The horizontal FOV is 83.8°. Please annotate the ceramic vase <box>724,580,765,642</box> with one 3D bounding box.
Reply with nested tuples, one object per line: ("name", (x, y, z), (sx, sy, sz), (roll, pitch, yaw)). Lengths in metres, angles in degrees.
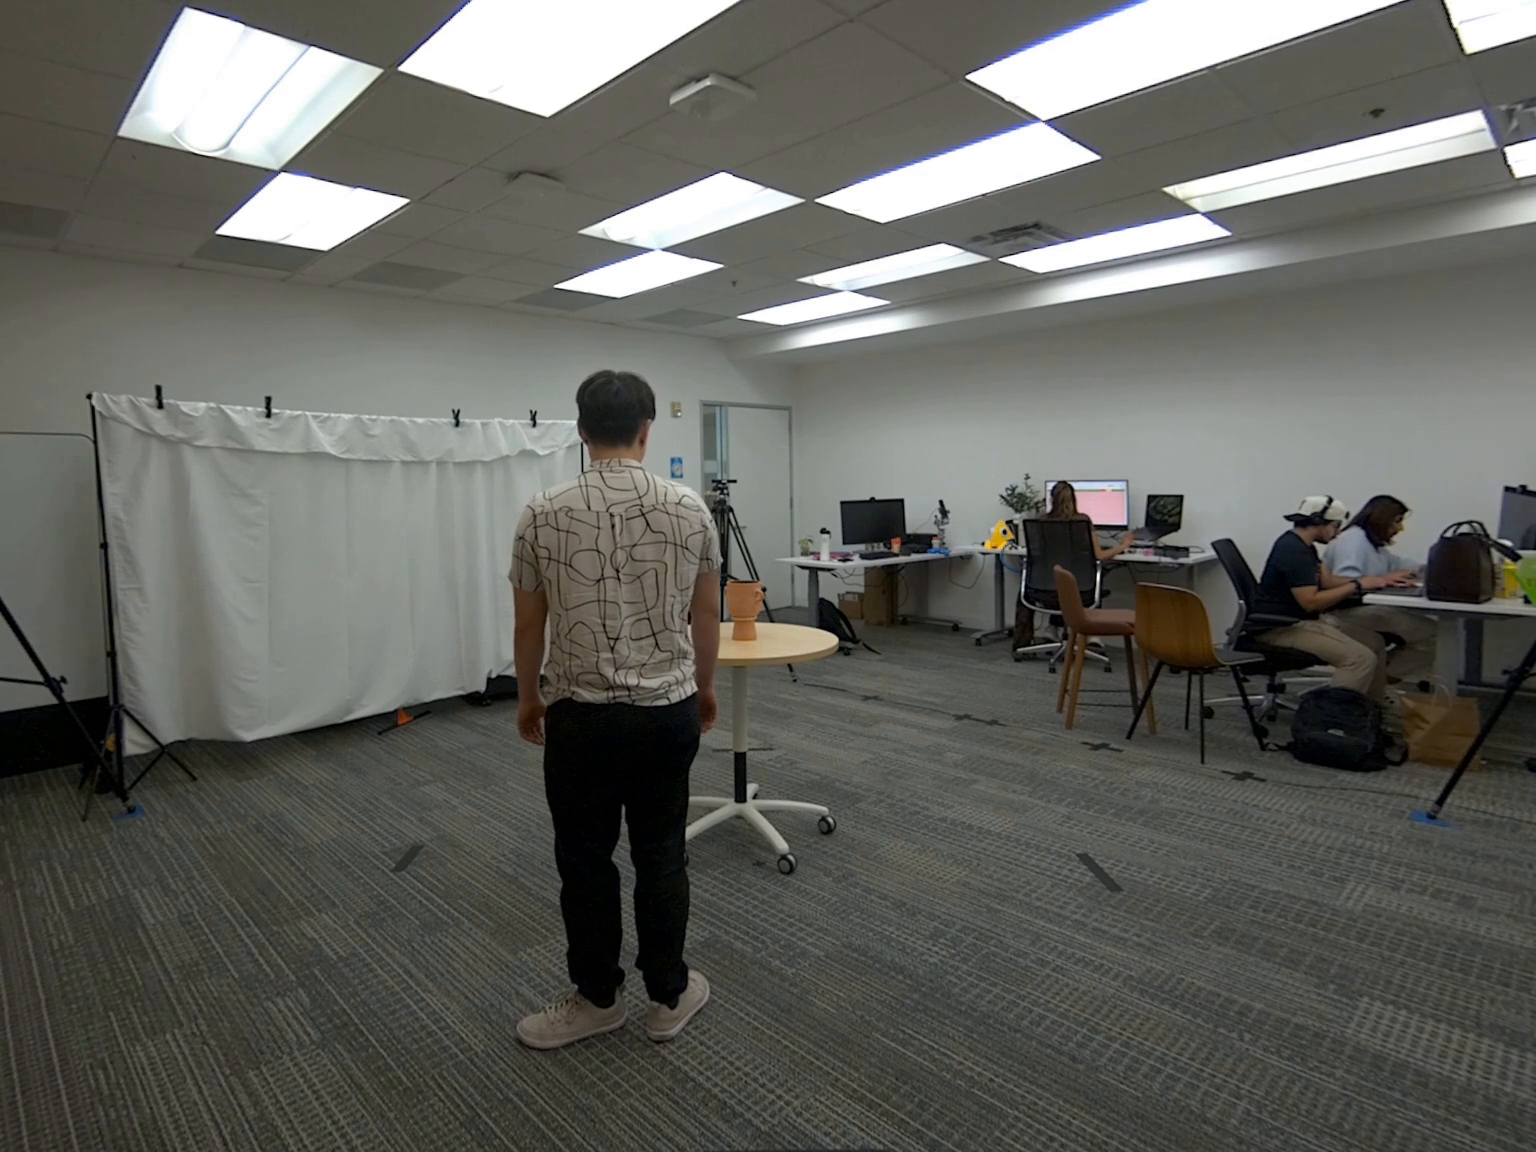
("ceramic vase", (-0.089, 0.134, 3.299), (0.133, 0.219, 0.160), (-1, 3, -9))
